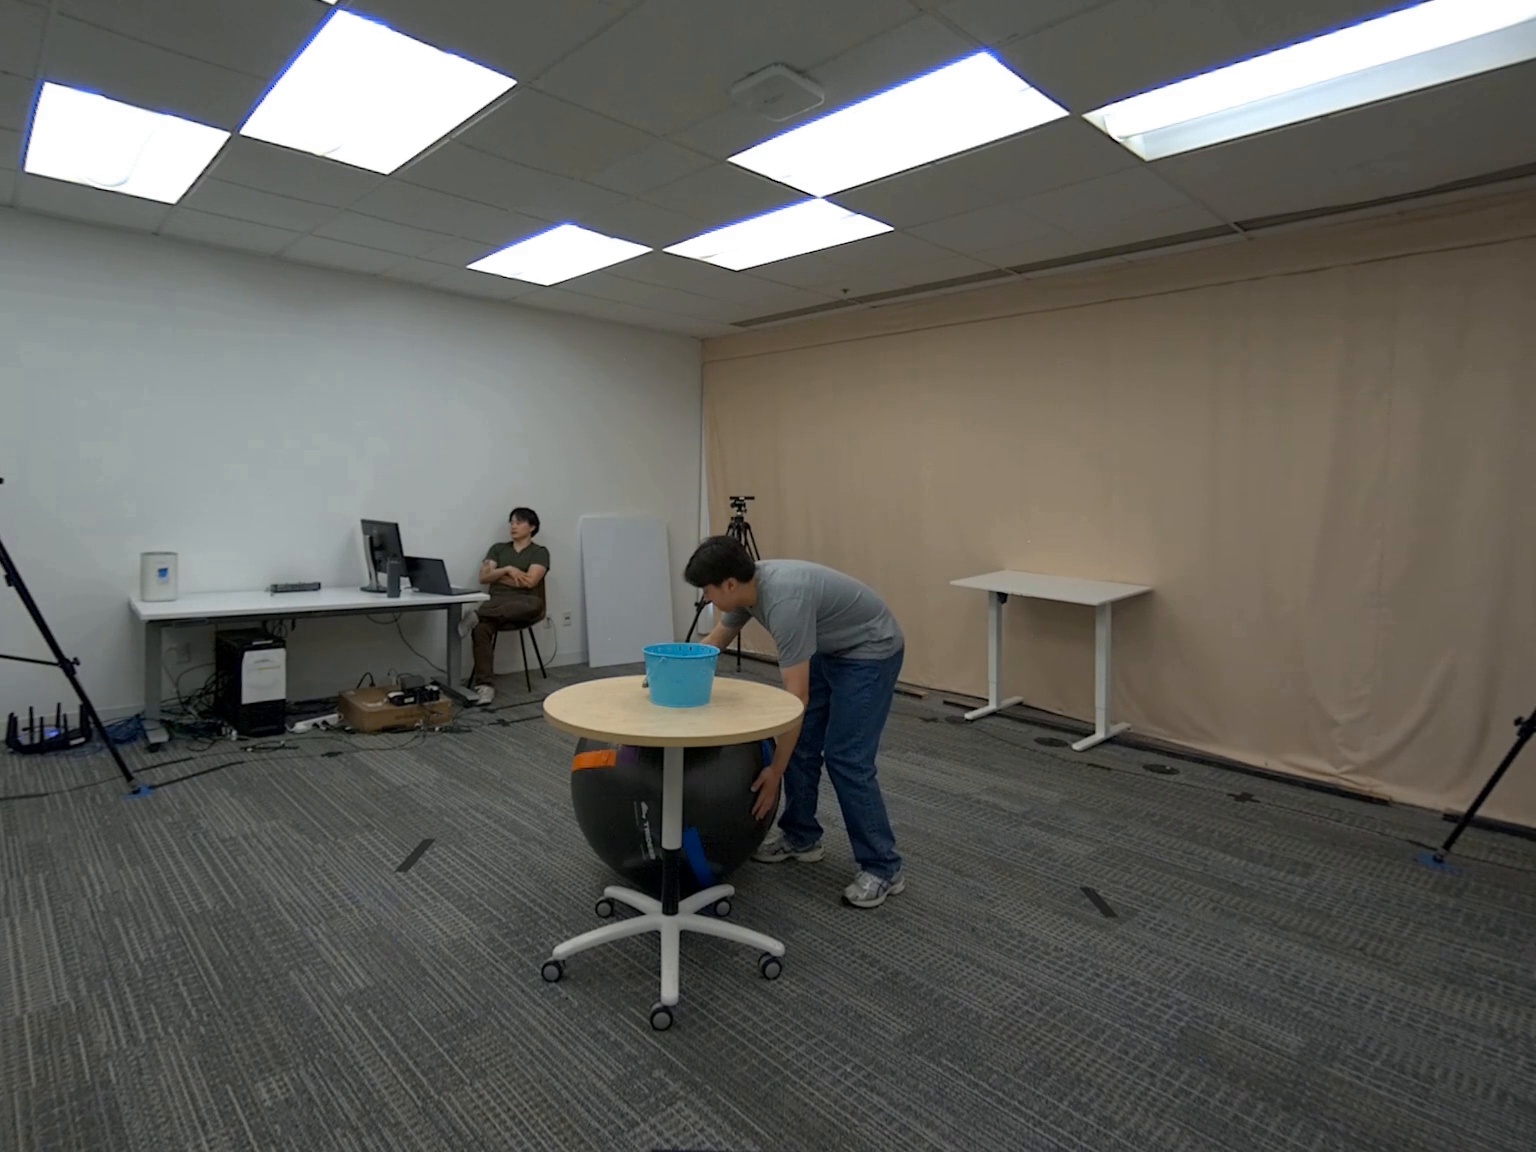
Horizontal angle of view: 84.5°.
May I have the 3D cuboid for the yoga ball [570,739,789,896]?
[{"bbox_3d":[-0.336,0.730,3.056,0.757,0.756,0.761,1,4,-1],"label":"yoga ball"}]
